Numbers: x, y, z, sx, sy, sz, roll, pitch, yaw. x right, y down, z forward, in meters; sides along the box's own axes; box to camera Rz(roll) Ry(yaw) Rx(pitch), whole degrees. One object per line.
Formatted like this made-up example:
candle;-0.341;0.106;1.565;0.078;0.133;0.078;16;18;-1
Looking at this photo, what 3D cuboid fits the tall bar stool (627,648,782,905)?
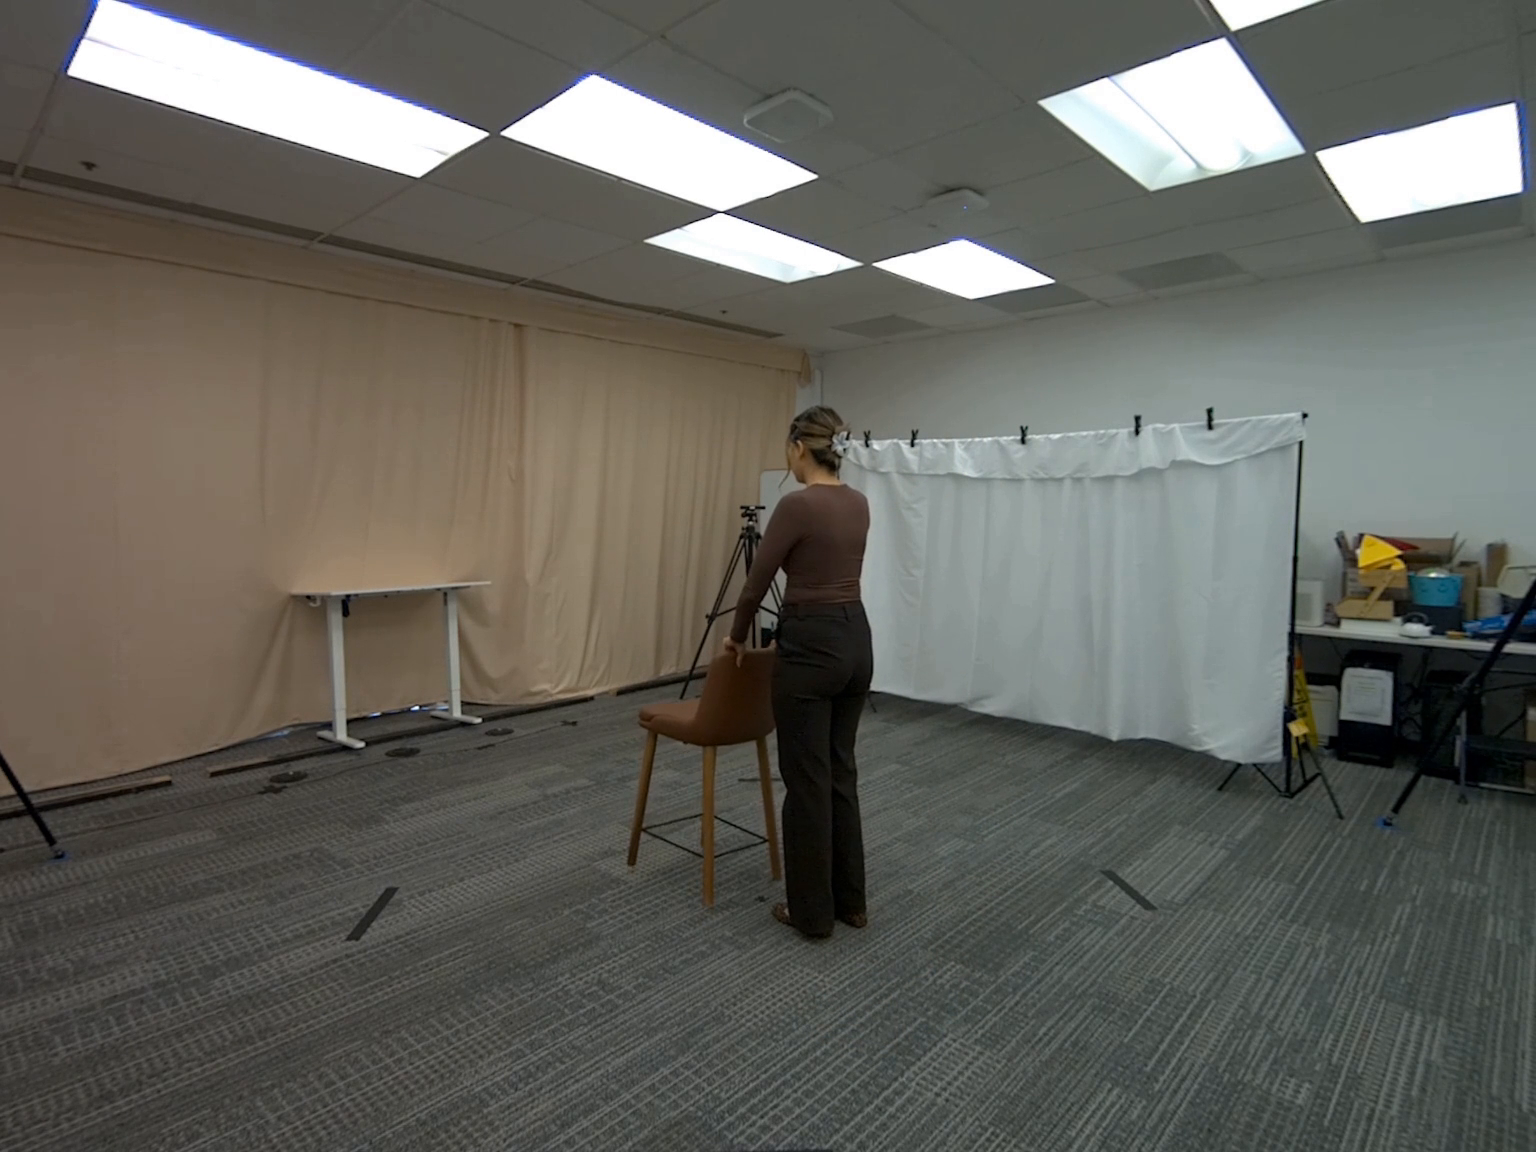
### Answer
tall bar stool;-0.208;0.680;3.170;0.442;0.889;0.483;2;3;-45
